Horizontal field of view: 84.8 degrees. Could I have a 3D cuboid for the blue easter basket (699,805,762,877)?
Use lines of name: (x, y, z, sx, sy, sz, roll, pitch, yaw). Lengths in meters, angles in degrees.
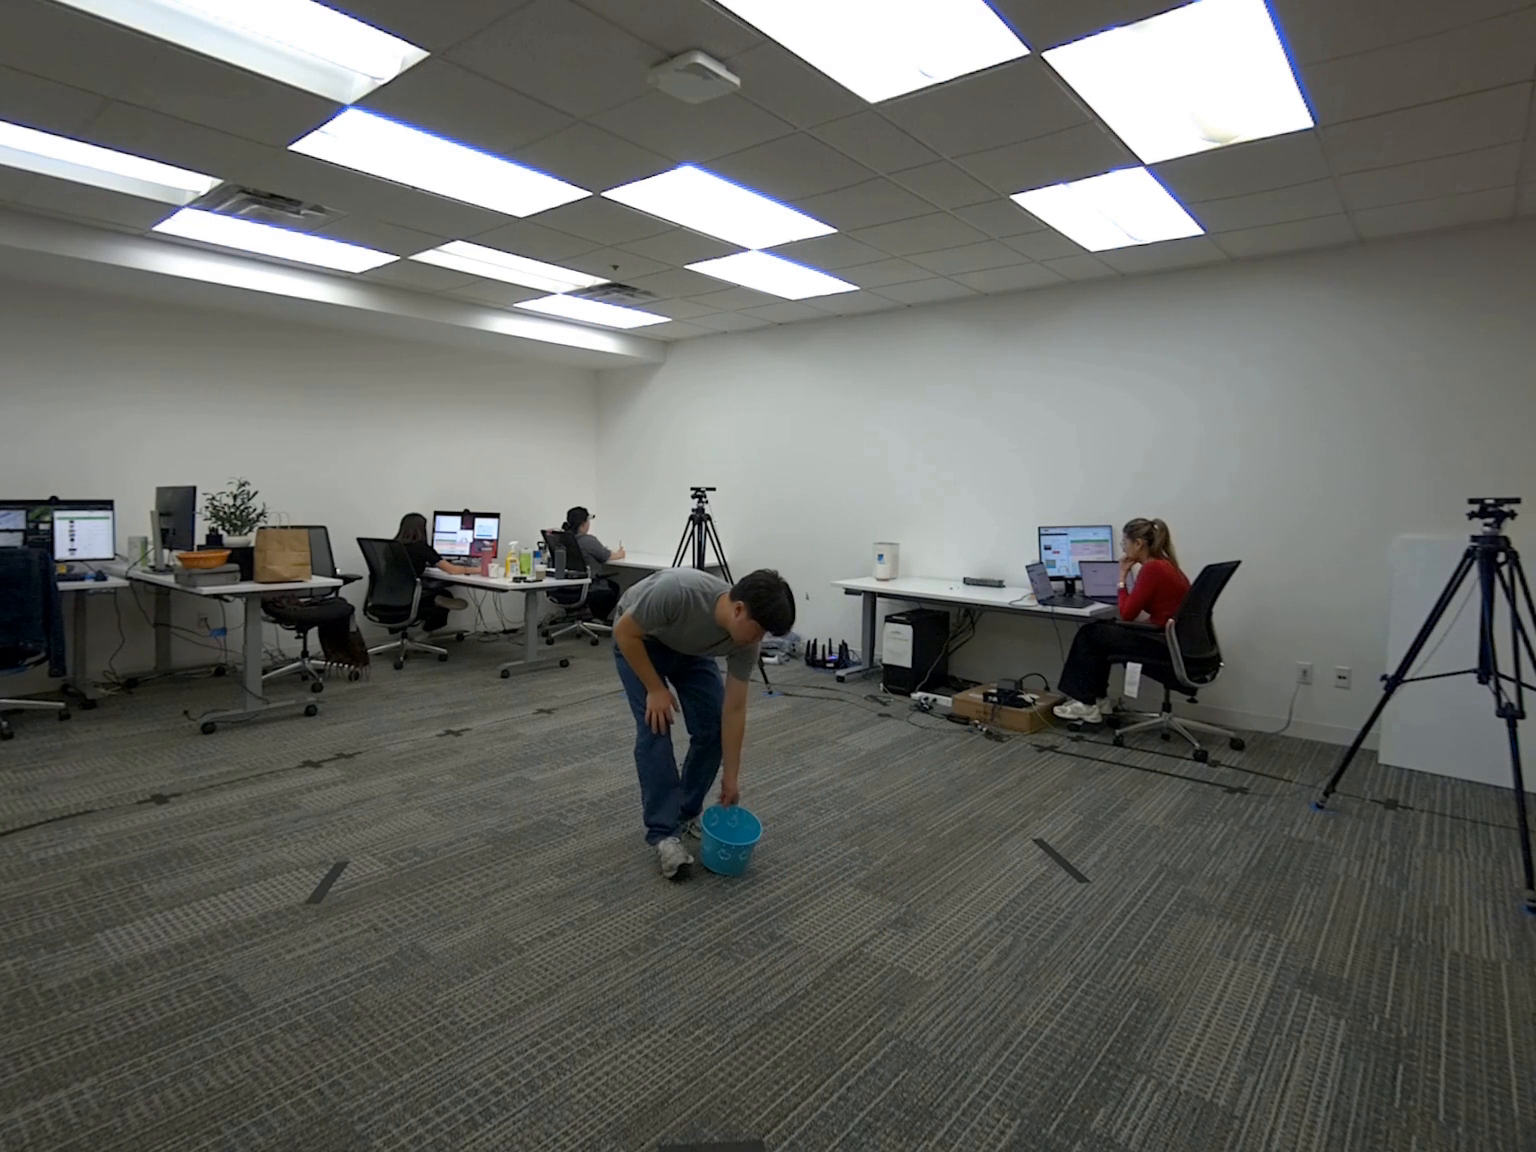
blue easter basket: (-0.143, 0.974, 3.111, 0.242, 0.154, 0.248, 8, 18, -4)
